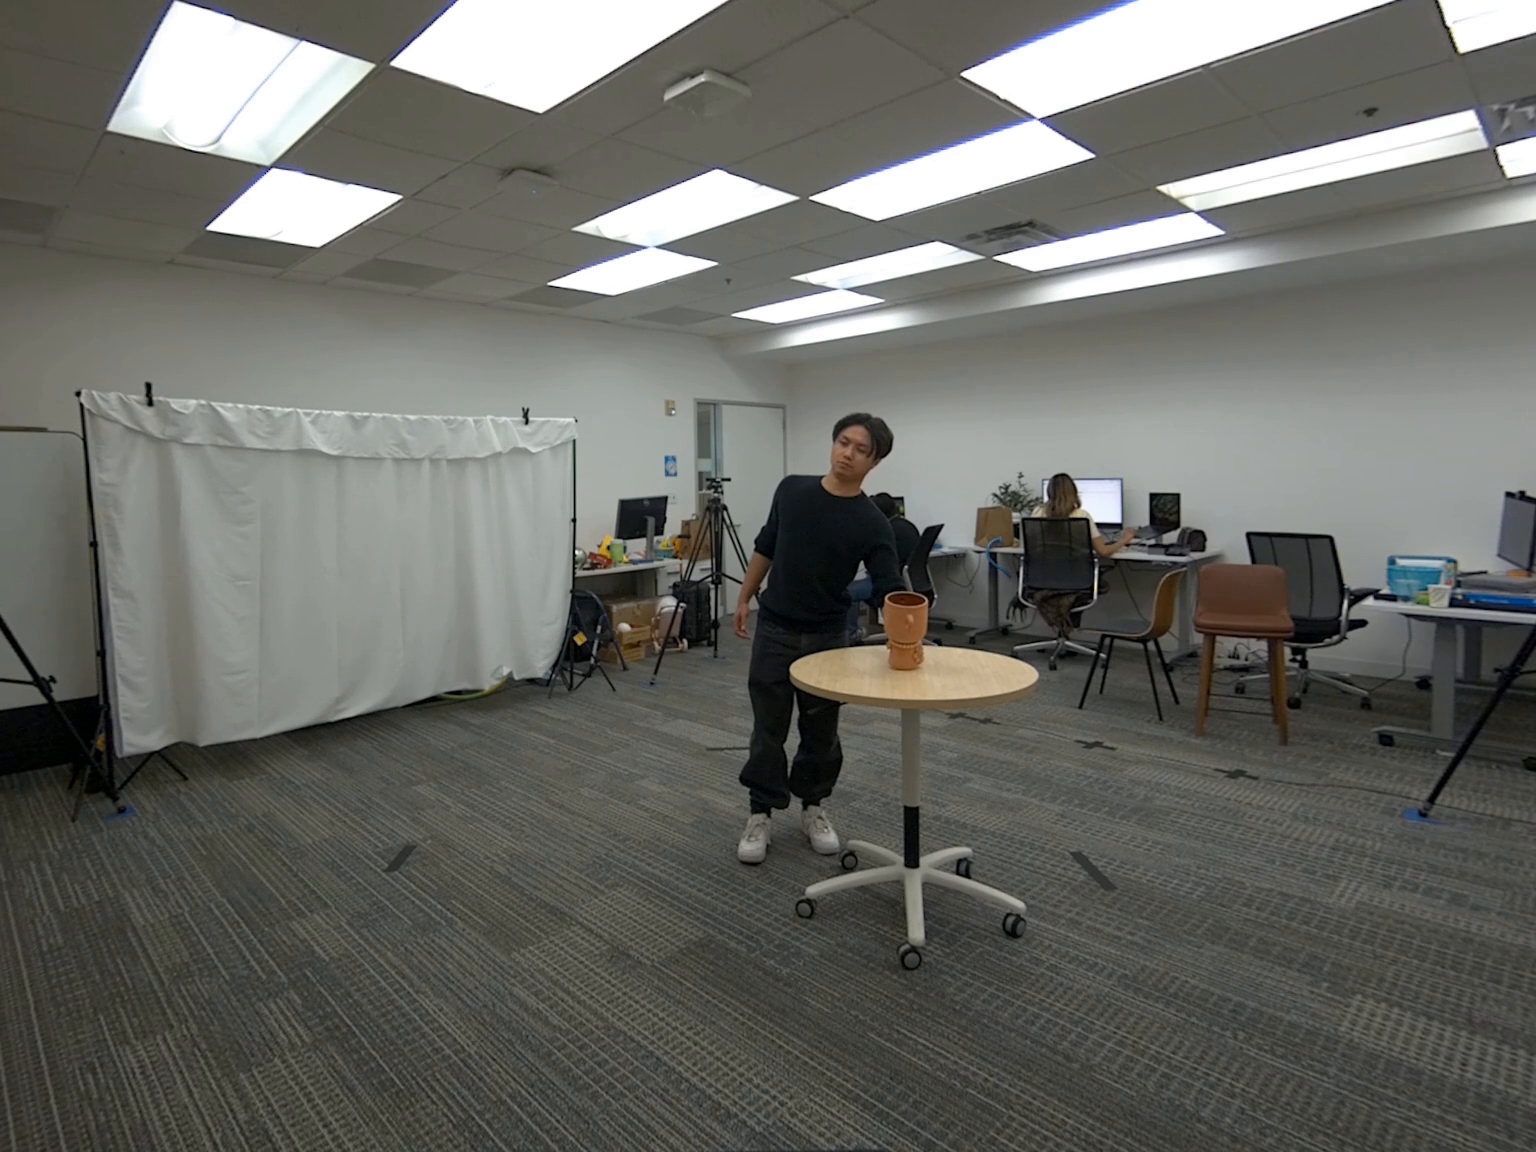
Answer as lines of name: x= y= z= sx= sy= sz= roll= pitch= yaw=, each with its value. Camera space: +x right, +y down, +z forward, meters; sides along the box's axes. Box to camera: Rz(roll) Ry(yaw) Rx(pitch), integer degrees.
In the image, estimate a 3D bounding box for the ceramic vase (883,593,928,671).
ceramic vase: x=0.437 y=0.175 z=2.705 sx=0.139 sy=0.216 sz=0.156 roll=15 pitch=23 yaw=39
